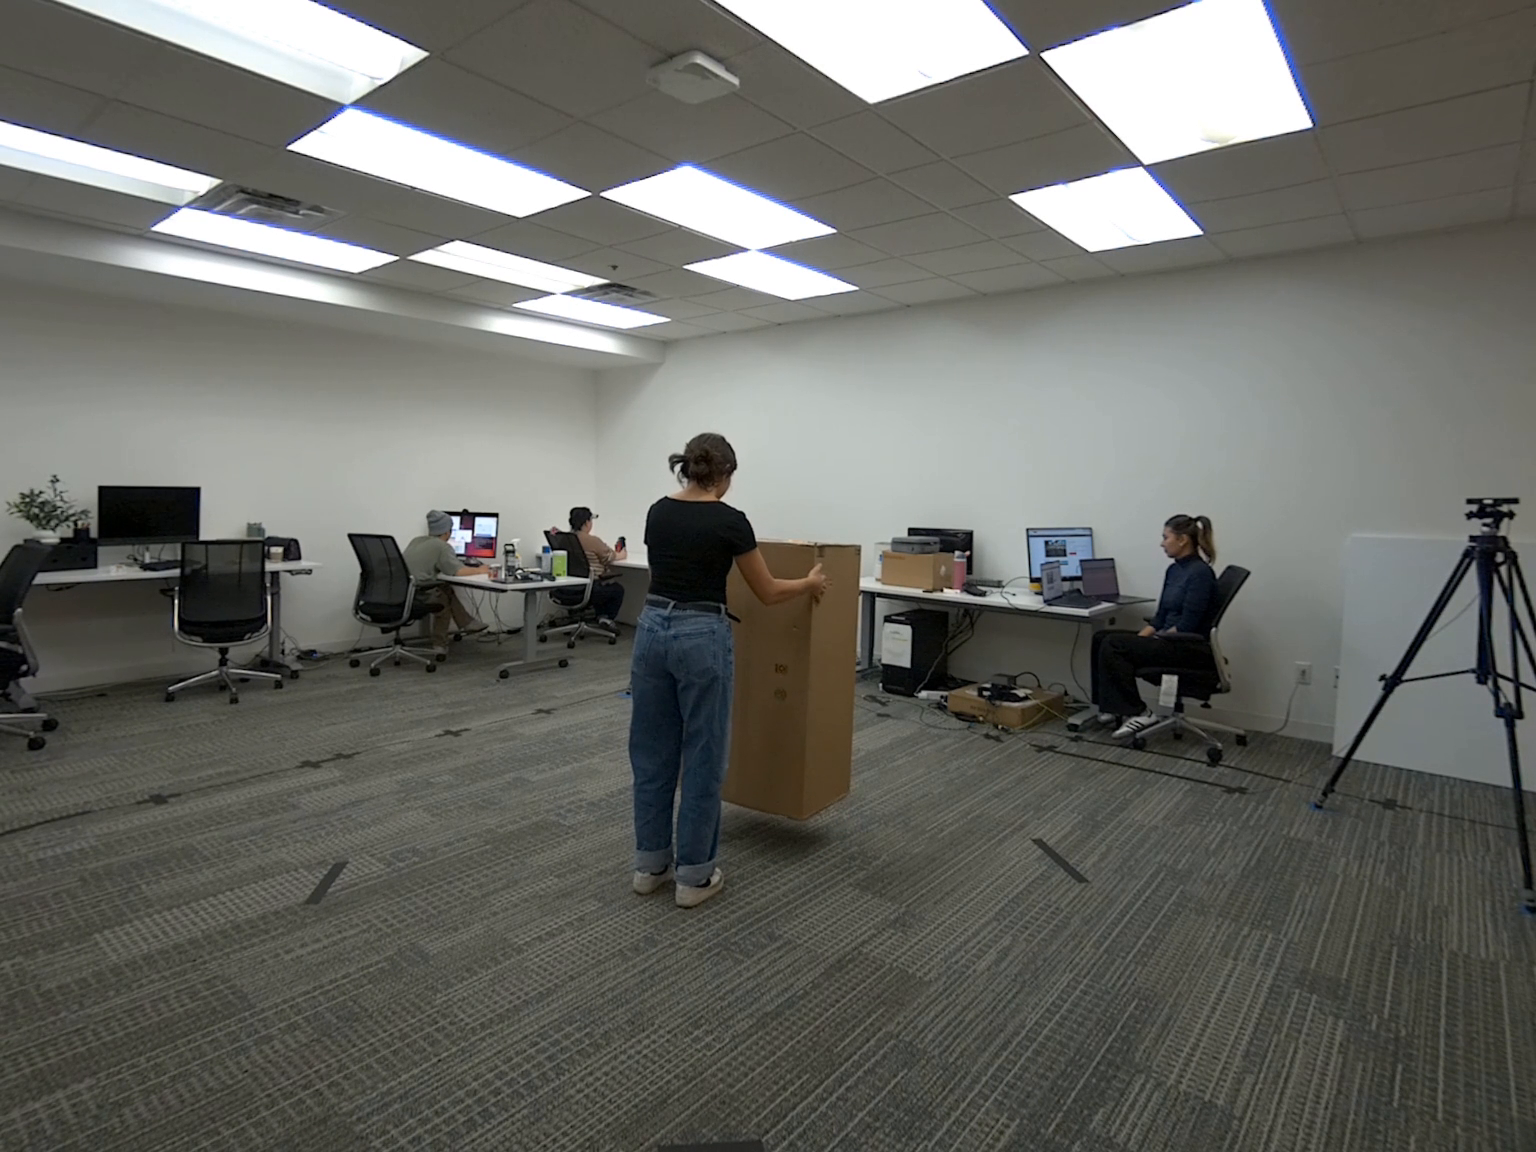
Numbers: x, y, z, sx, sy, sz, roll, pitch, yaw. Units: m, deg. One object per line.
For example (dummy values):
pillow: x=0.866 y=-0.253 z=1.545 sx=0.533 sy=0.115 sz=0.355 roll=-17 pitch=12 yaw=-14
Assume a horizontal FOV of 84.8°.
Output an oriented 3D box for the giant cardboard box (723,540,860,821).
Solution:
giant cardboard box: x=0.003 y=0.366 z=3.443 sx=0.595 sy=1.025 sz=0.414 roll=3 pitch=1 yaw=31
